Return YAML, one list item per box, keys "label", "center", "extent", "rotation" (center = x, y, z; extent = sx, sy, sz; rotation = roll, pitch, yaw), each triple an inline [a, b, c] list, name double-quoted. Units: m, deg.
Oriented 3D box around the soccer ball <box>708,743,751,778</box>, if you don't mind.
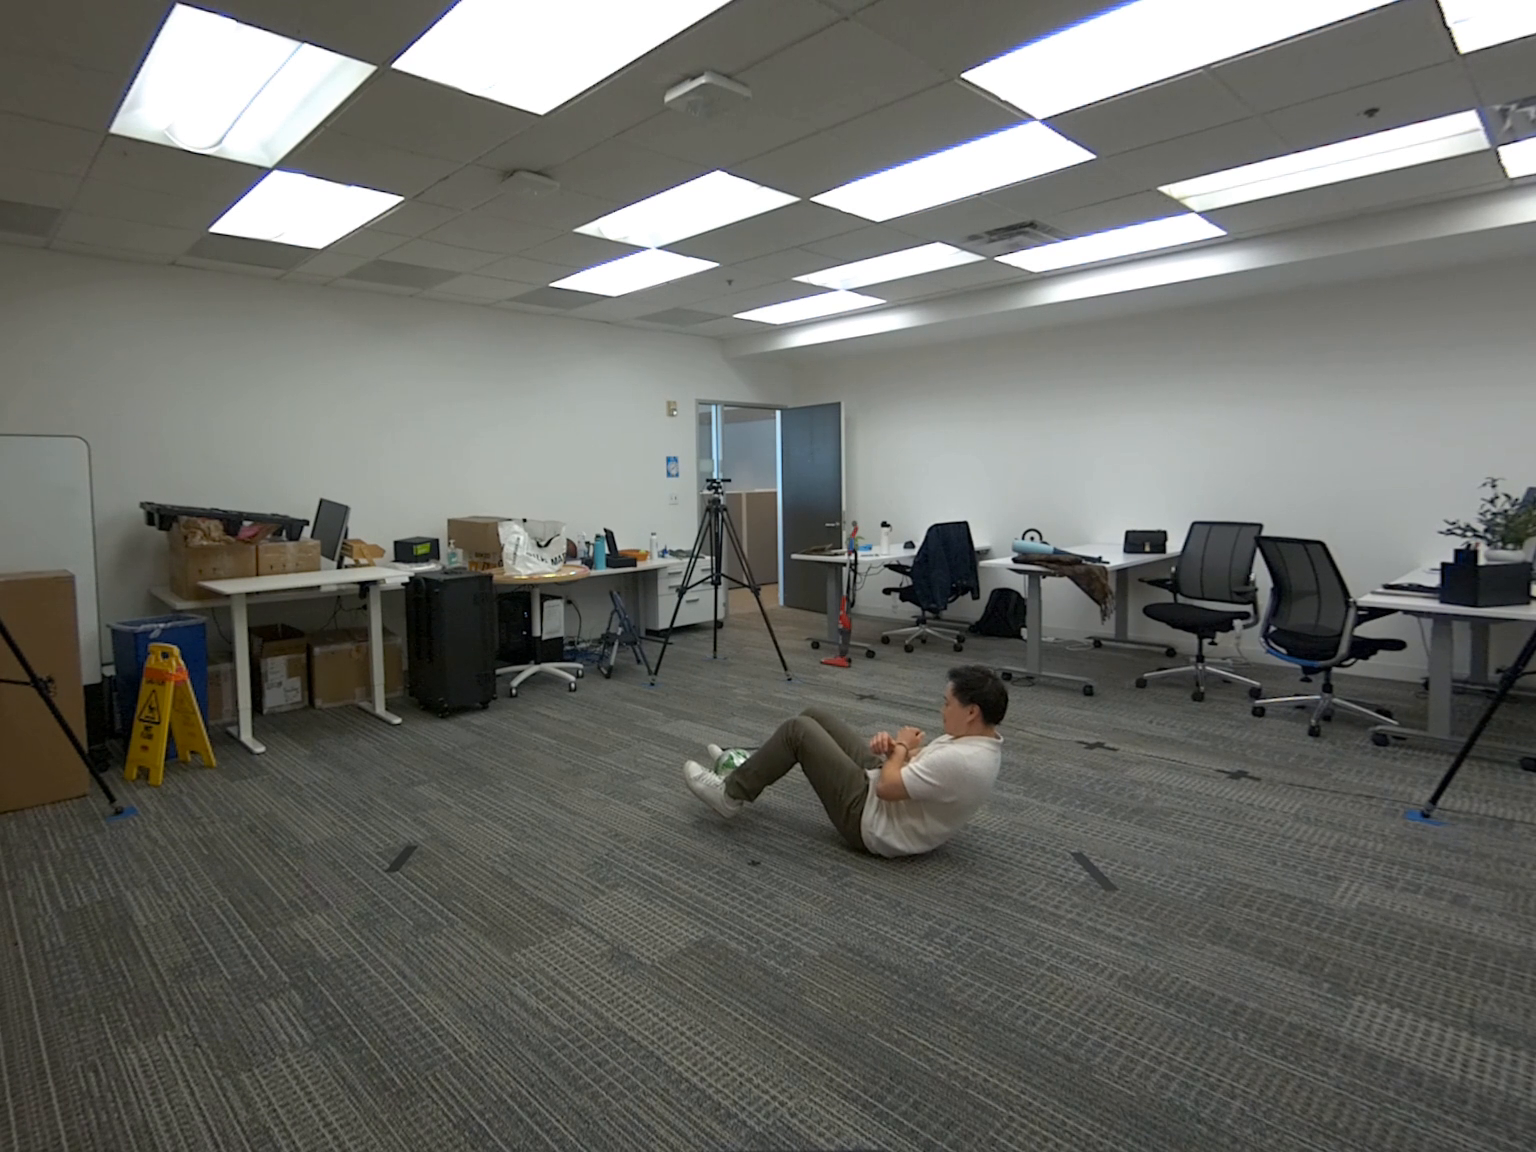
- label: "soccer ball"
  center: [-0.117, 0.801, 3.514]
  extent: [0.187, 0.187, 0.188]
  rotation: [-1, 5, -2]
